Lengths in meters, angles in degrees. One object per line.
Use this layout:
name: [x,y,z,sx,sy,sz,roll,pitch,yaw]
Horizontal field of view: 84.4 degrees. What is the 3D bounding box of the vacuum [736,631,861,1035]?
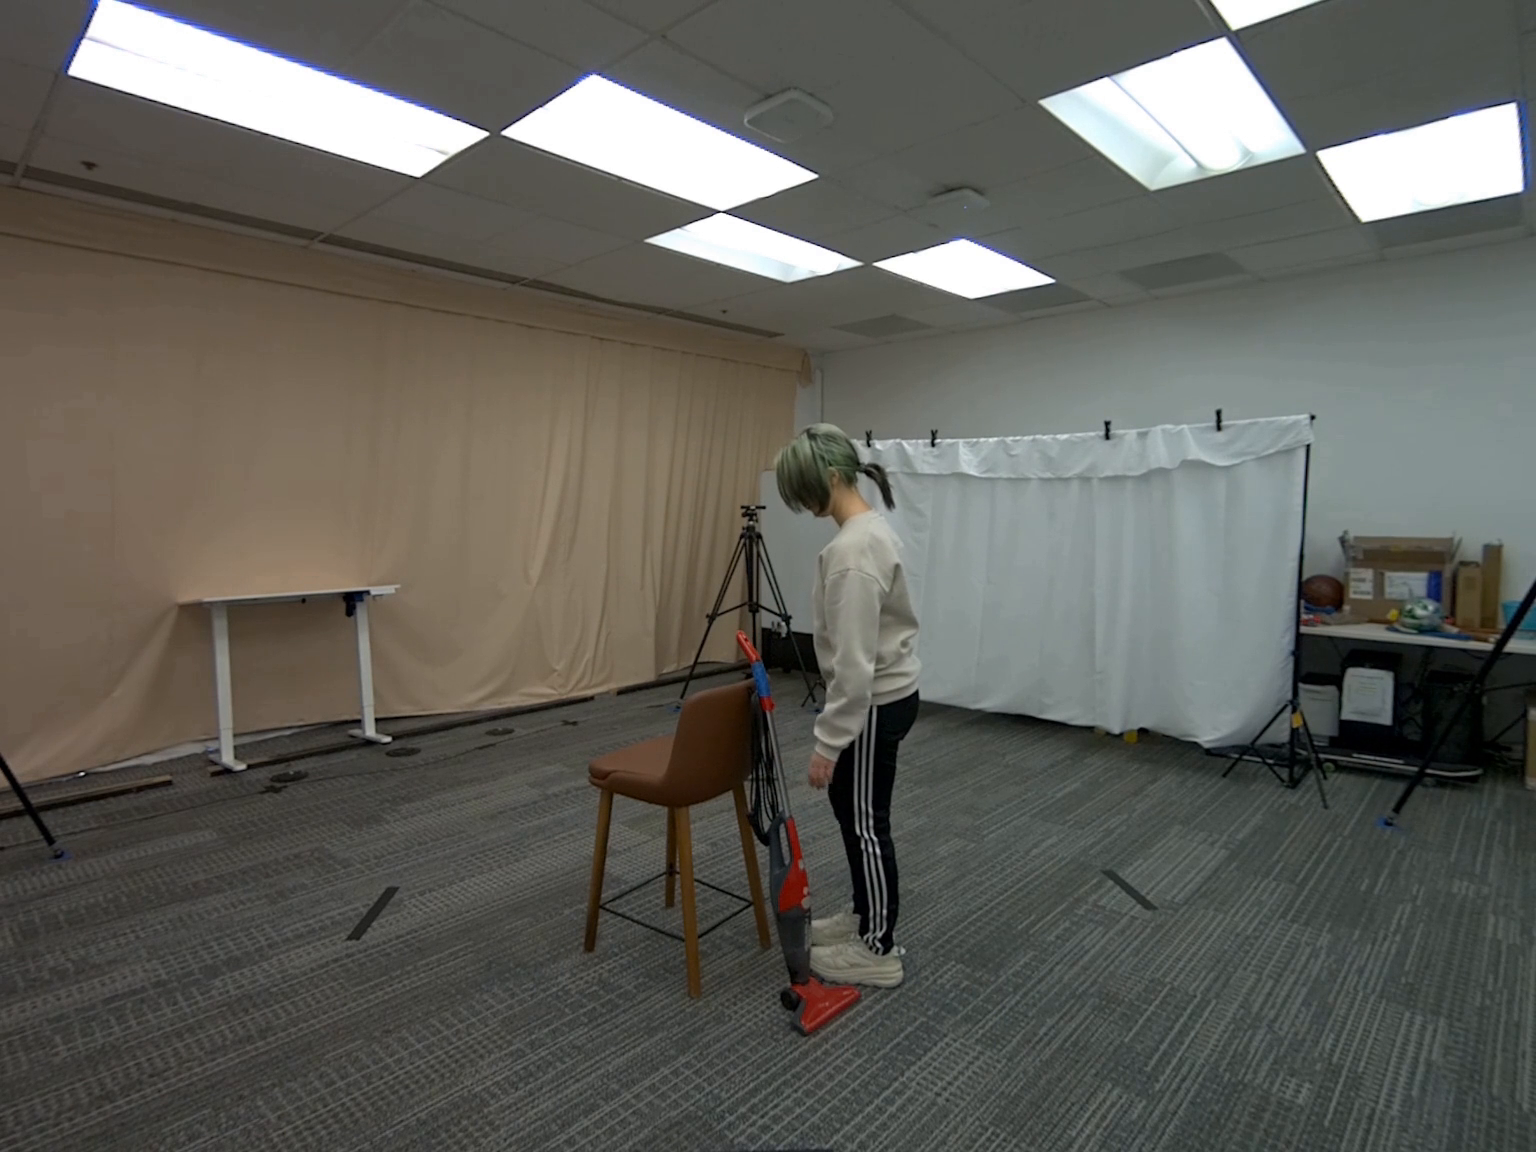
vacuum: [0.030,0.697,2.399,0.147,1.055,0.245,-15,-7,31]
